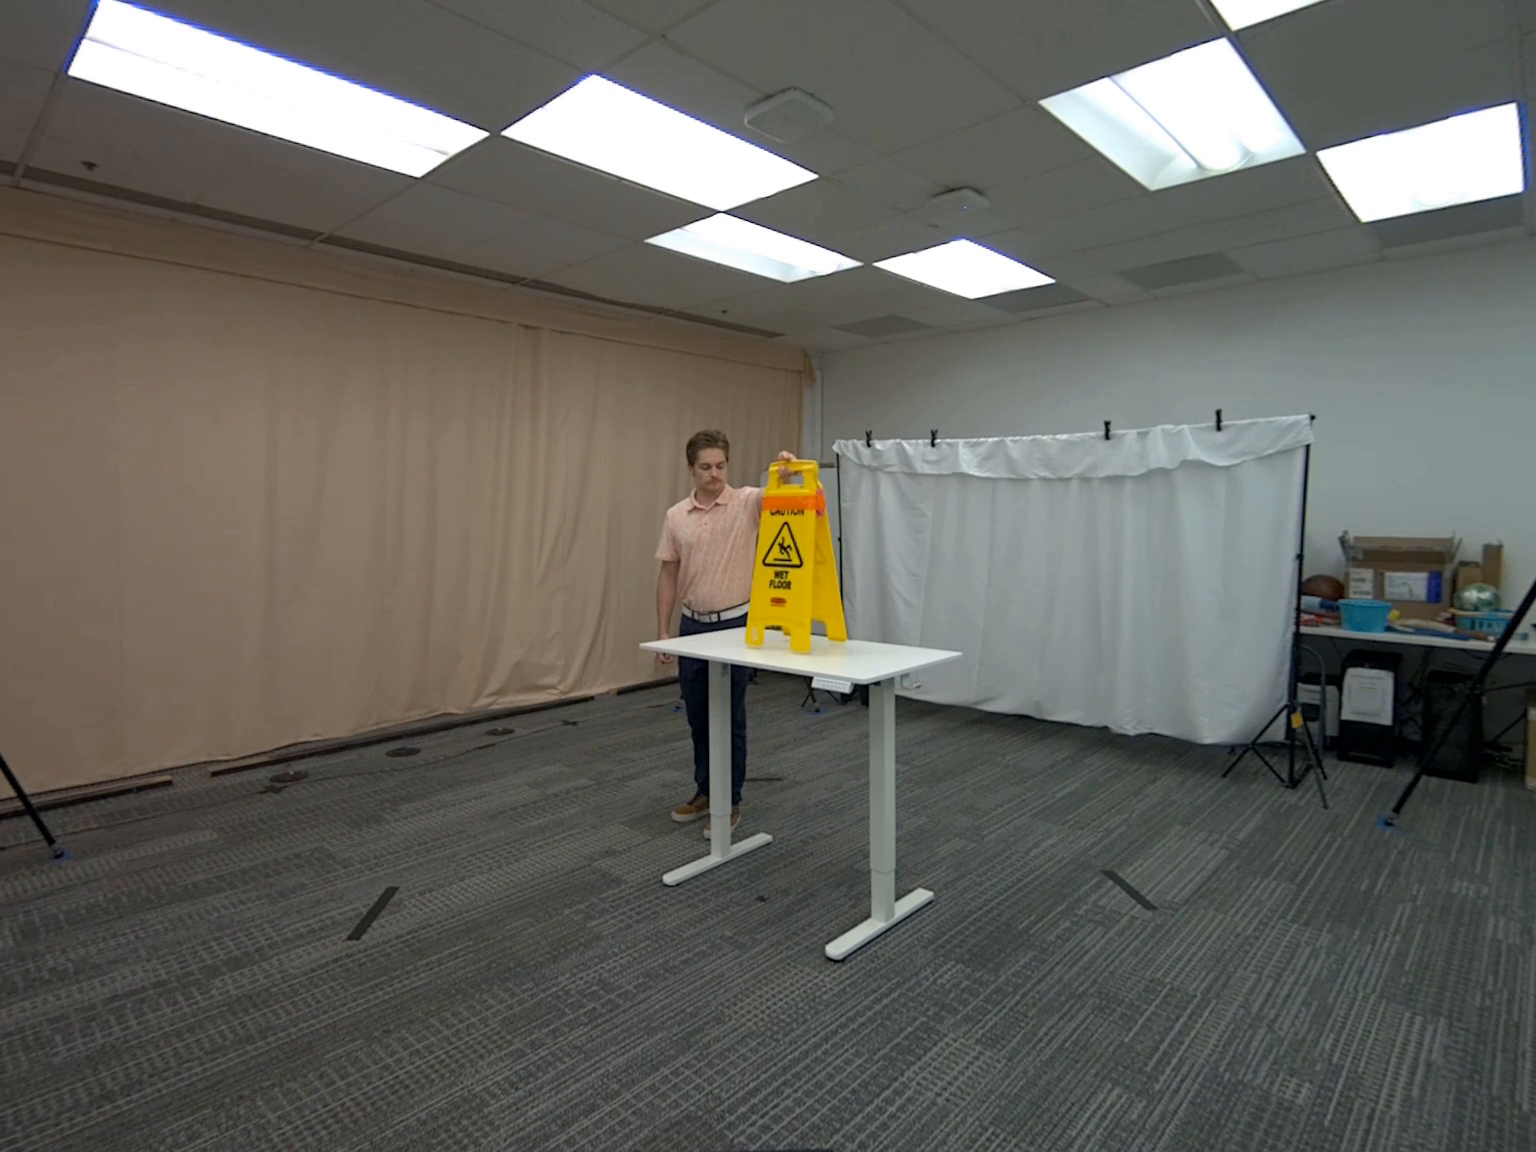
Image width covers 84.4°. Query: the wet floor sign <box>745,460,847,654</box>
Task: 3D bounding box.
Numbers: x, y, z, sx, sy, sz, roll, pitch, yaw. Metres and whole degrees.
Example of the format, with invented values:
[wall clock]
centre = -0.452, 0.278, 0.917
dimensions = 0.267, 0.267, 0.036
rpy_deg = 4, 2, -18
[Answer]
[wet floor sign]
centre = 0.096, -0.080, 3.002
dimensions = 0.291, 0.644, 0.281
rpy_deg = 1, 5, 39
